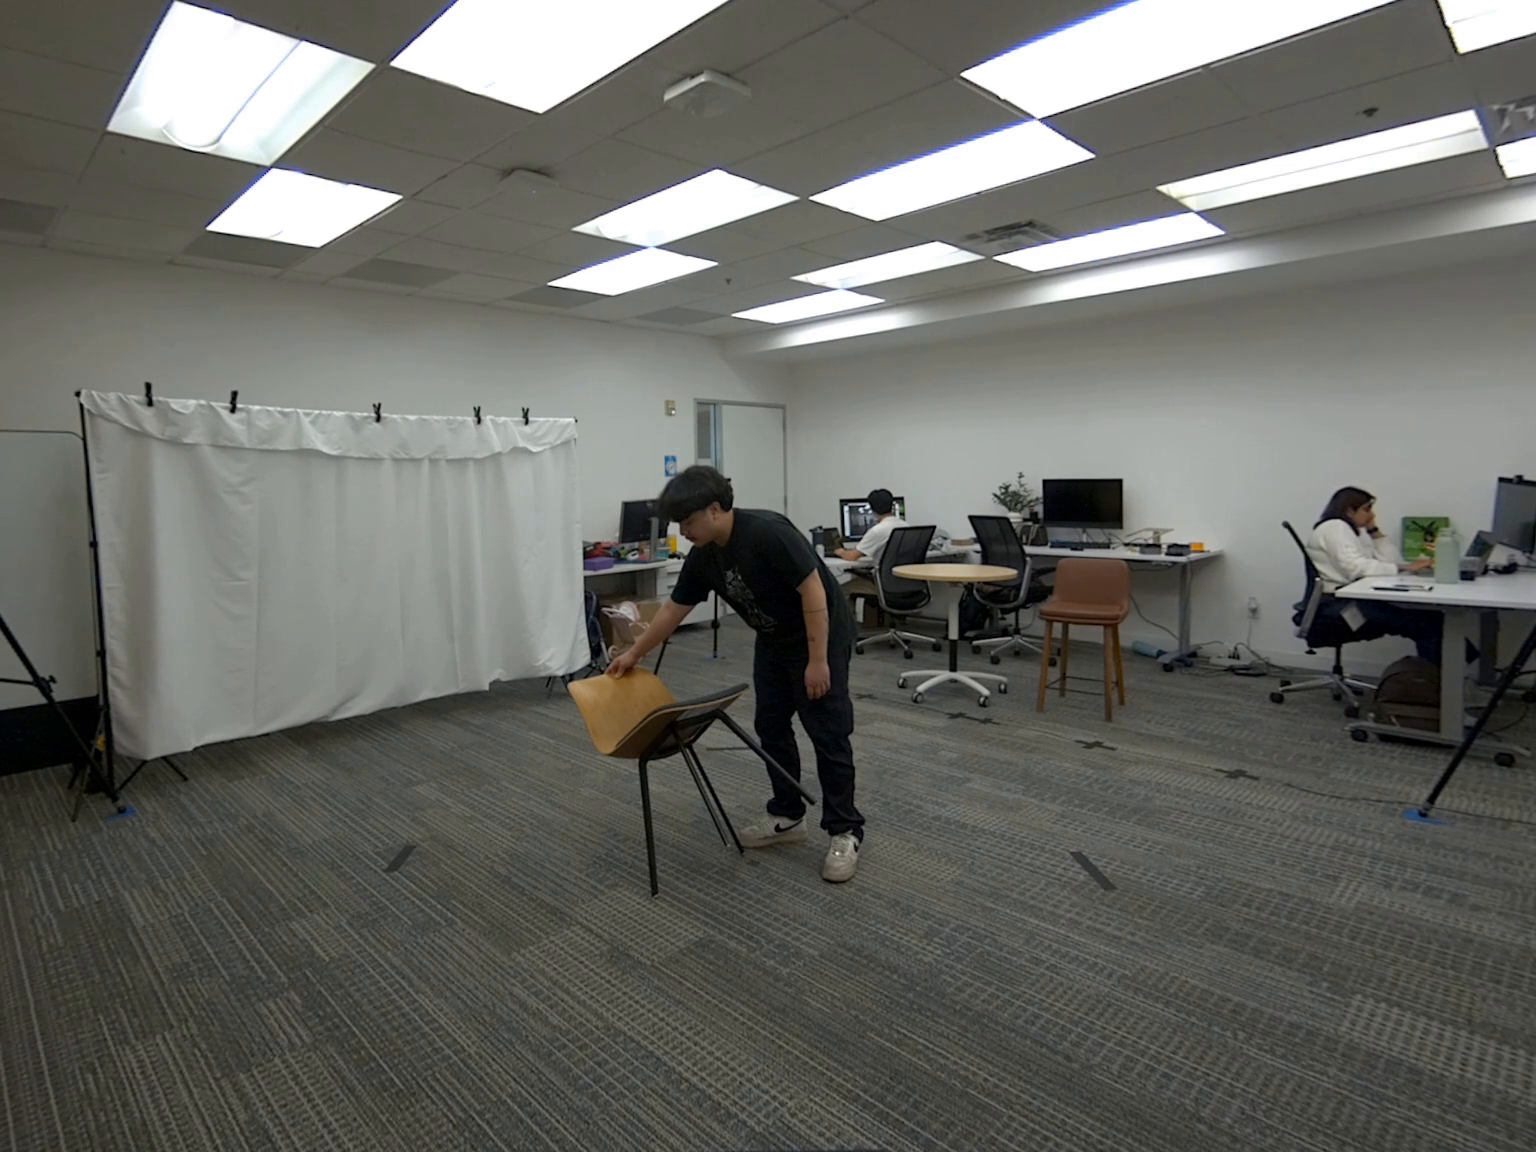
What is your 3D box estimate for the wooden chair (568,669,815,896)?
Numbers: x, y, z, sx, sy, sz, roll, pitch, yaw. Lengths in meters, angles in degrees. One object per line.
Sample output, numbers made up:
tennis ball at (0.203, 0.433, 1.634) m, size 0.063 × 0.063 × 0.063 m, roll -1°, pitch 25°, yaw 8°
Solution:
wooden chair at (-0.307, 0.577, 3.041) m, size 0.465 × 0.904 × 0.521 m, roll -5°, pitch -37°, yaw -46°
